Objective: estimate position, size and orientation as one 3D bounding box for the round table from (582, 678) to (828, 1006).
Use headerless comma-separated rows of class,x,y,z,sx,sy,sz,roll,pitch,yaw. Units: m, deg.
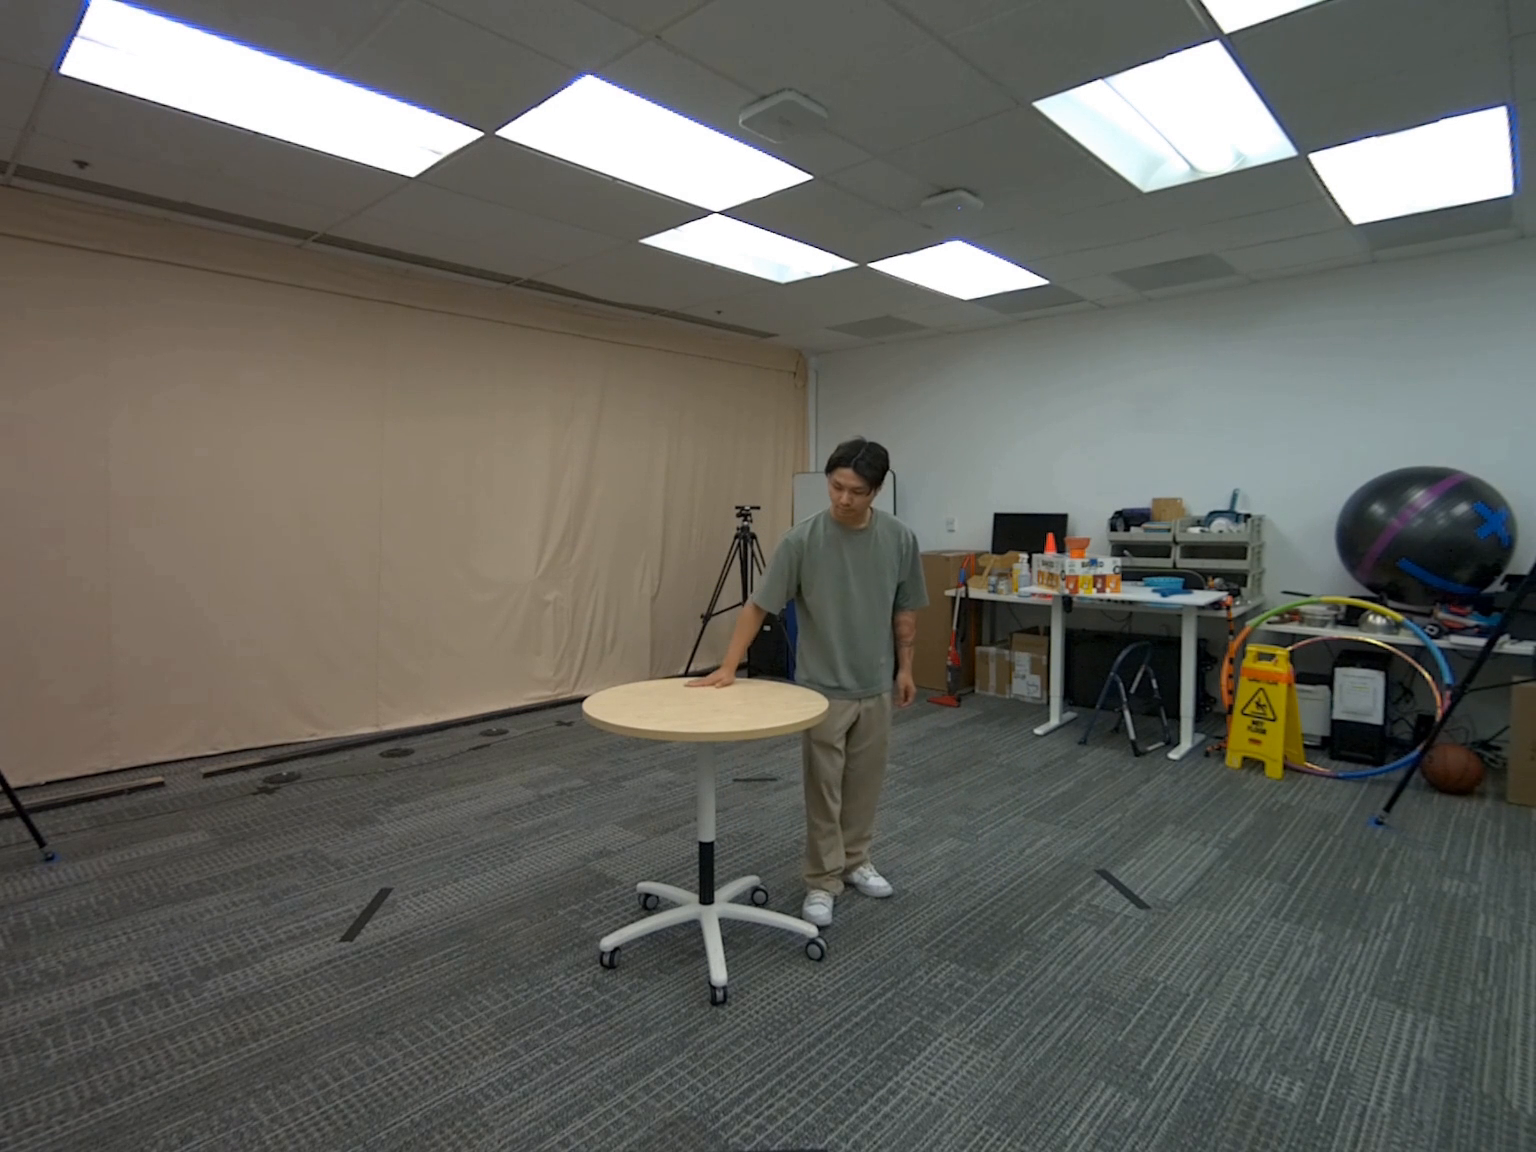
round table,-0.193,0.787,2.645,0.763,0.792,0.766,0,3,-2
